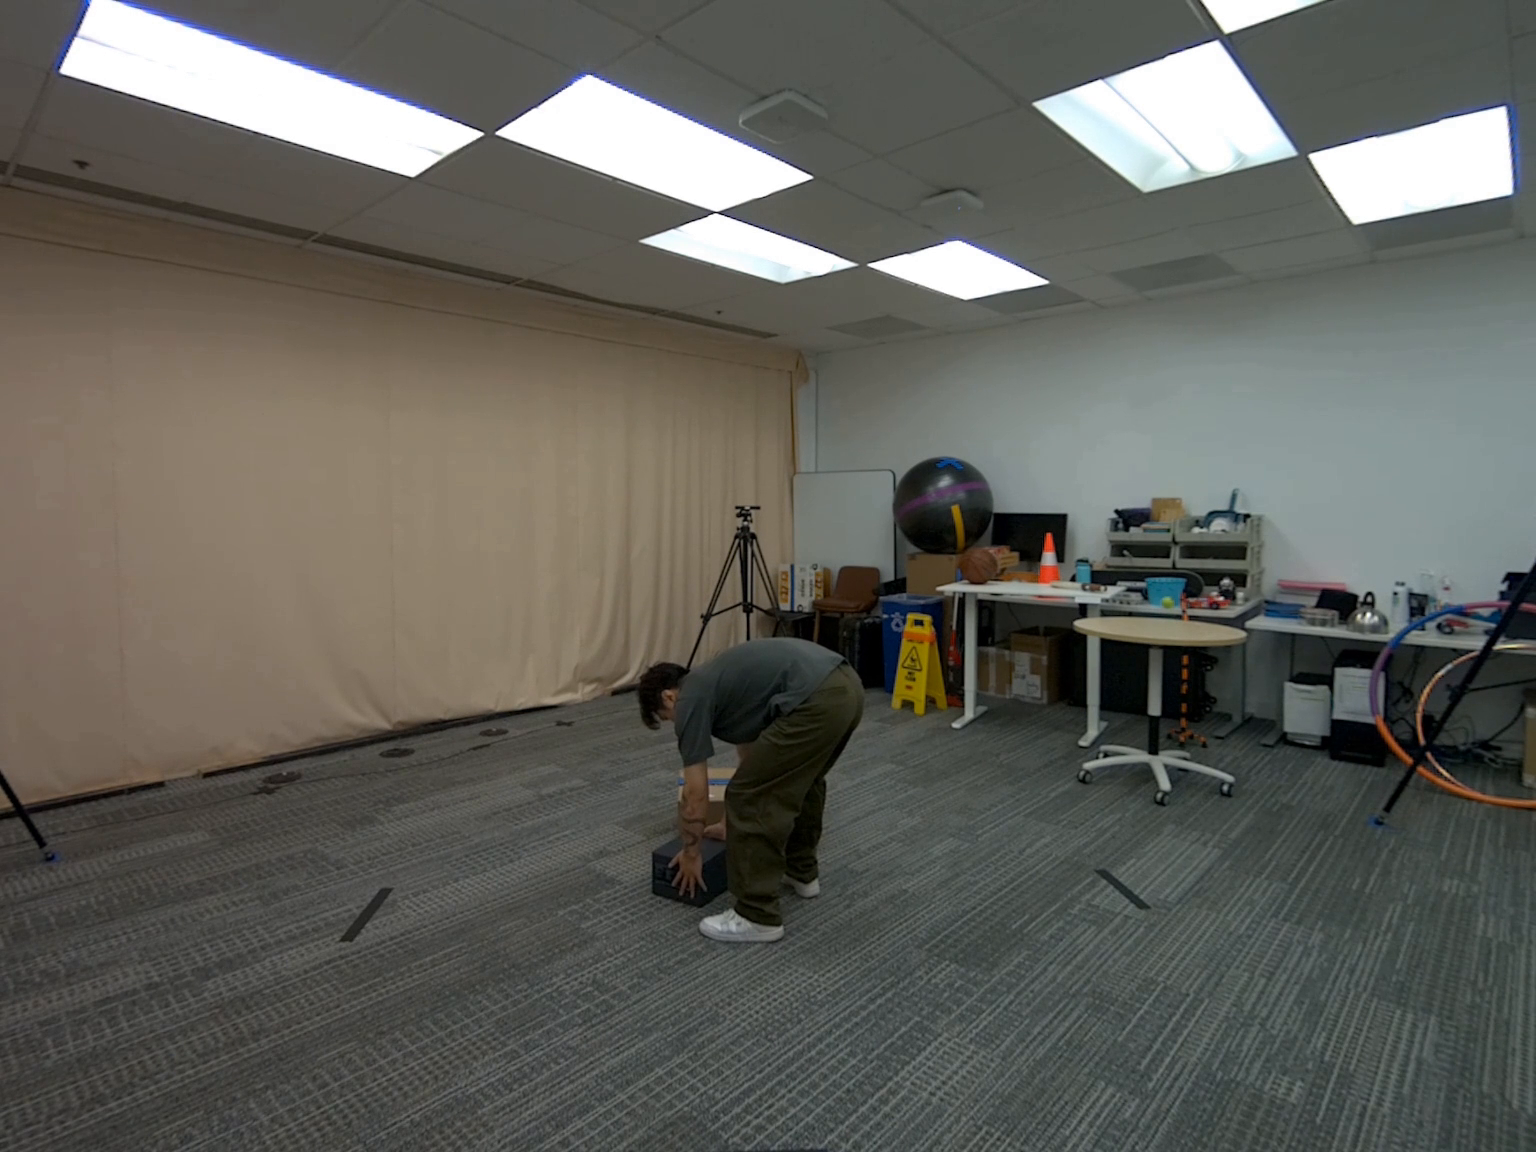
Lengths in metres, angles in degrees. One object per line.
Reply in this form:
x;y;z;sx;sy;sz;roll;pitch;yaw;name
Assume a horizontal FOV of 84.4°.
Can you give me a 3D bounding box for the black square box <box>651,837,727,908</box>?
-0.269;1.059;3.063;0.223;0.155;0.222;1;5;30;black square box
